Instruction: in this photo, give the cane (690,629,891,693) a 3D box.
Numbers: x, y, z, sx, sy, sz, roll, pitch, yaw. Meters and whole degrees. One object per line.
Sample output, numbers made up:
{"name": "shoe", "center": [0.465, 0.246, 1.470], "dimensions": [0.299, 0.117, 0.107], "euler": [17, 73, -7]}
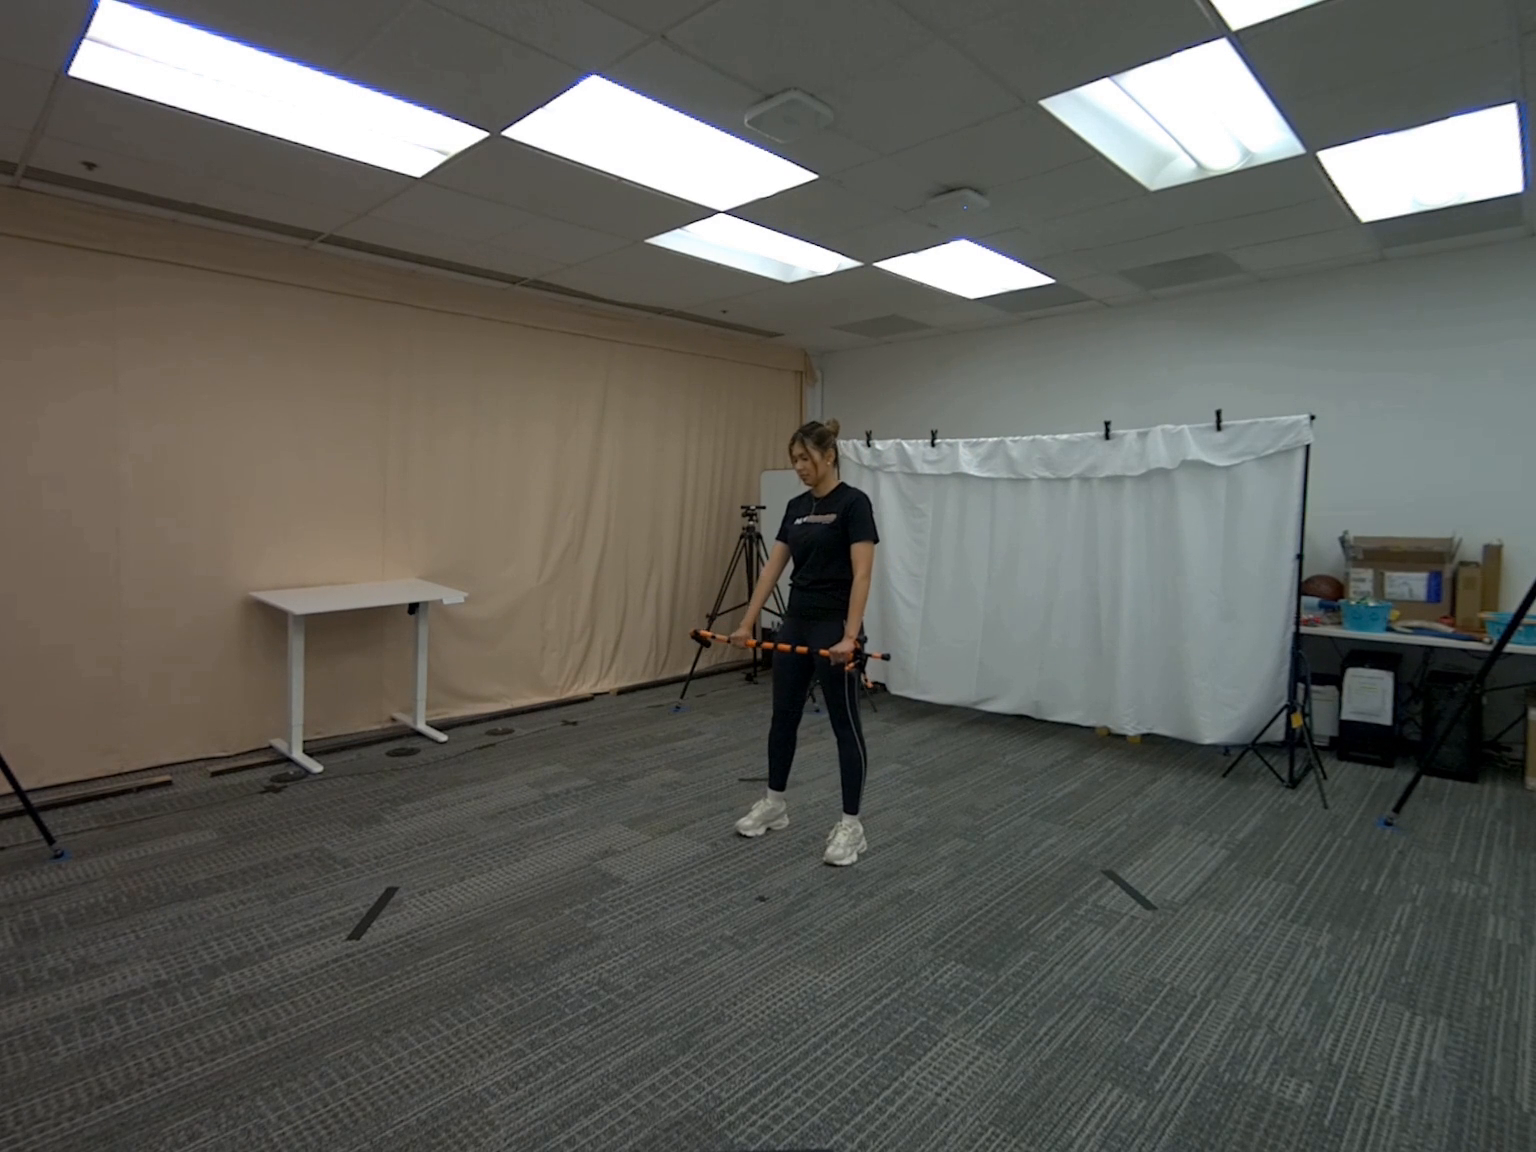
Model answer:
{"name": "cane", "center": [0.011, 0.299, 3.313], "dimensions": [0.938, 0.152, 0.199], "euler": [3, -25, 42]}
